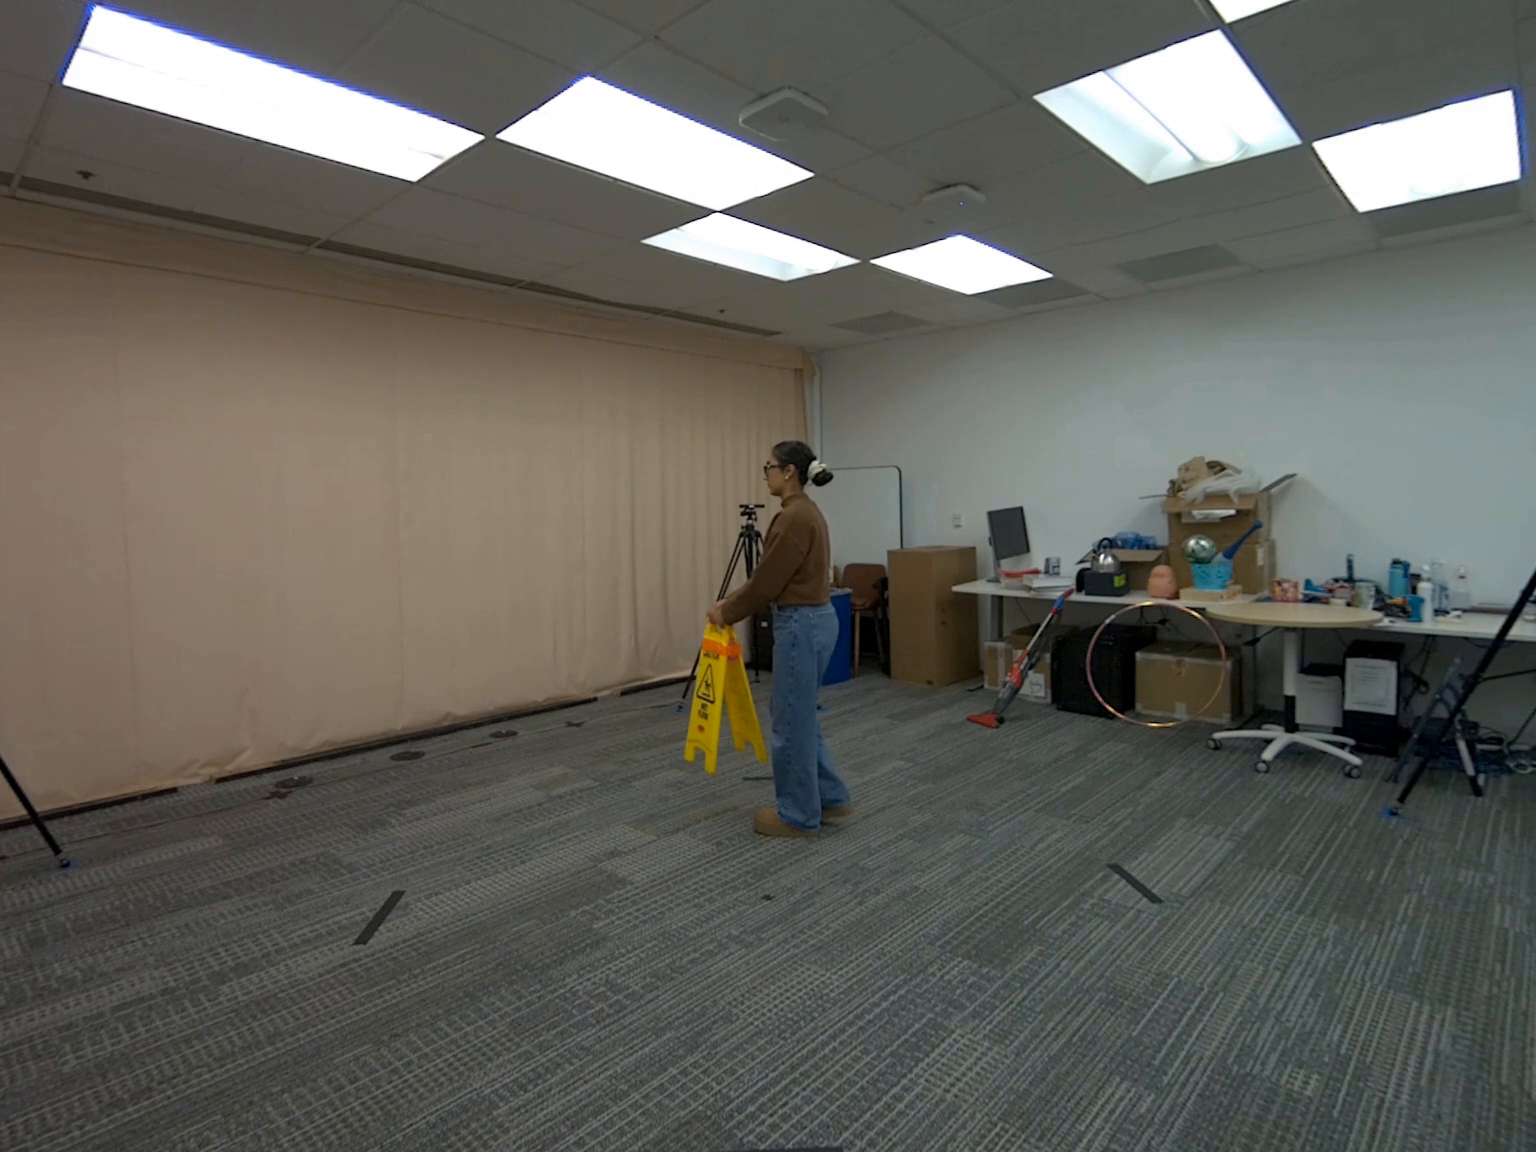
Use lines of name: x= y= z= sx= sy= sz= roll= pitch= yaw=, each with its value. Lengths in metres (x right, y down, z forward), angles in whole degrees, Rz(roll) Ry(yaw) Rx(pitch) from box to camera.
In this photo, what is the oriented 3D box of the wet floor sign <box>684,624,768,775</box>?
wet floor sign: x=-0.200 y=0.490 z=3.674 sx=0.282 sy=0.645 sz=0.290 roll=-4 pitch=2 yaw=-29
